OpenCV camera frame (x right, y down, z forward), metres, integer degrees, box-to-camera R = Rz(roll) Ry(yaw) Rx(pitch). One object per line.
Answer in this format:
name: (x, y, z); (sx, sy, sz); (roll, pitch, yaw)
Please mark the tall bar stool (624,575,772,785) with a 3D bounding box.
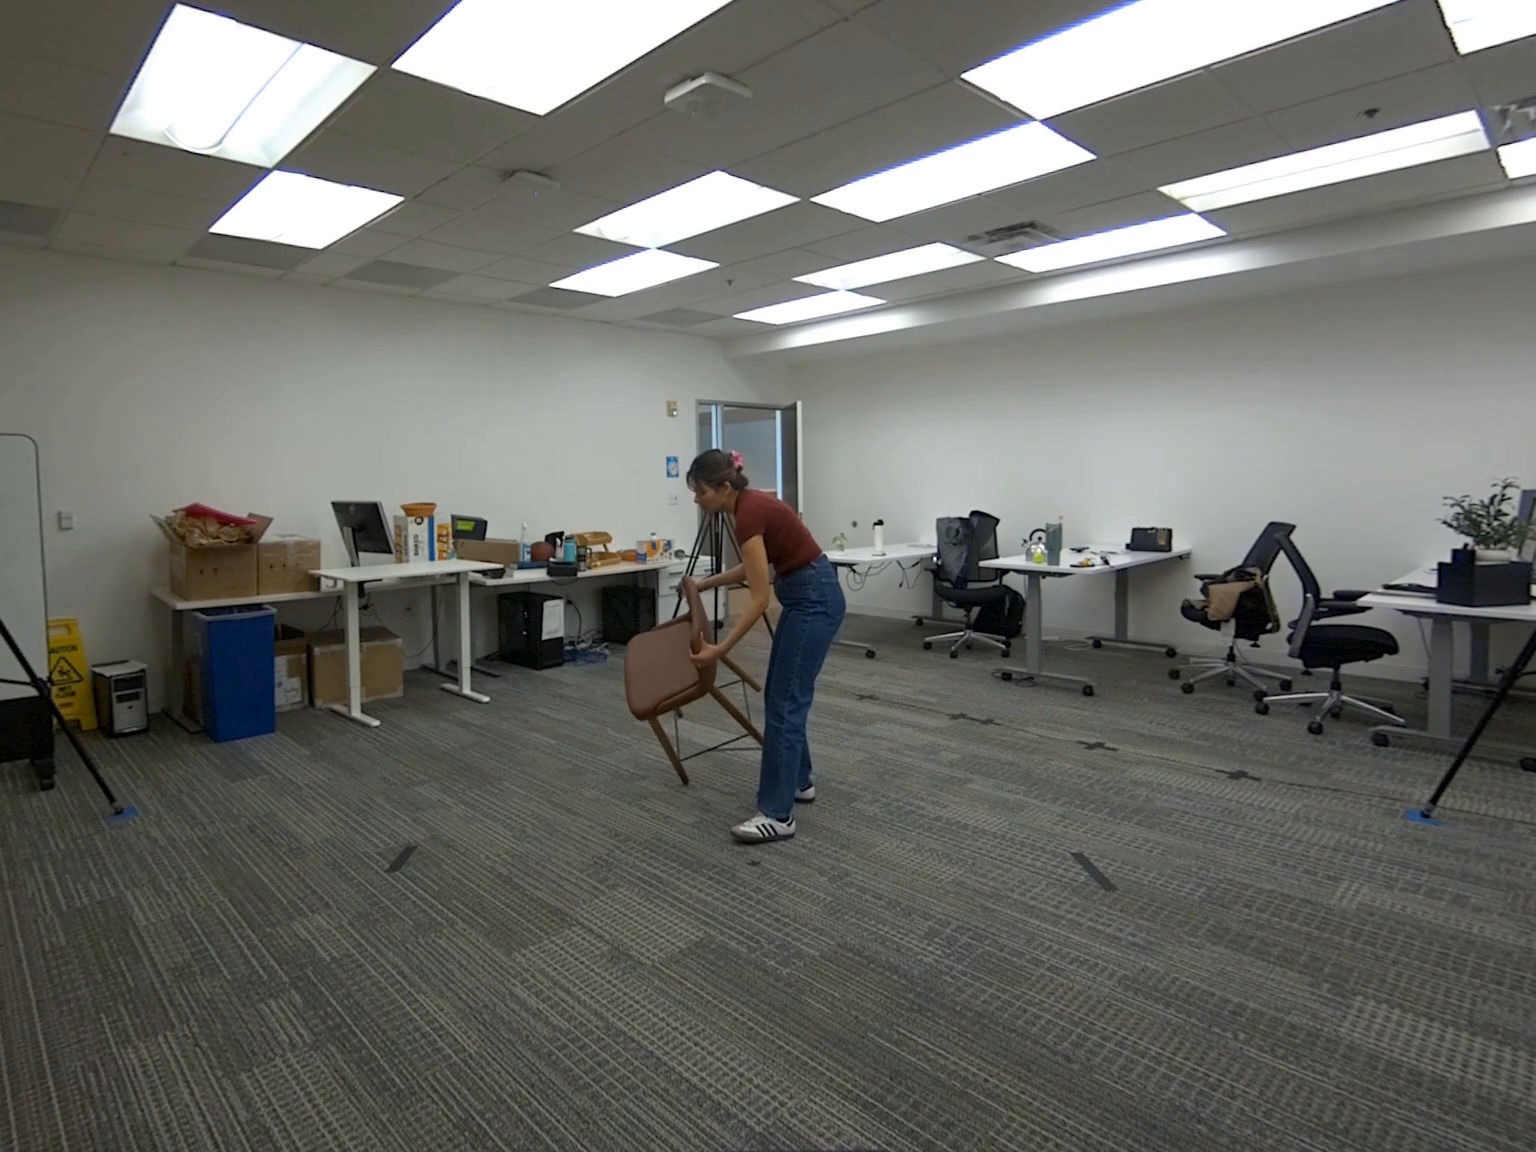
tall bar stool: (-0.359, 0.467, 3.774); (0.470, 0.857, 0.471); (-20, 42, 8)
